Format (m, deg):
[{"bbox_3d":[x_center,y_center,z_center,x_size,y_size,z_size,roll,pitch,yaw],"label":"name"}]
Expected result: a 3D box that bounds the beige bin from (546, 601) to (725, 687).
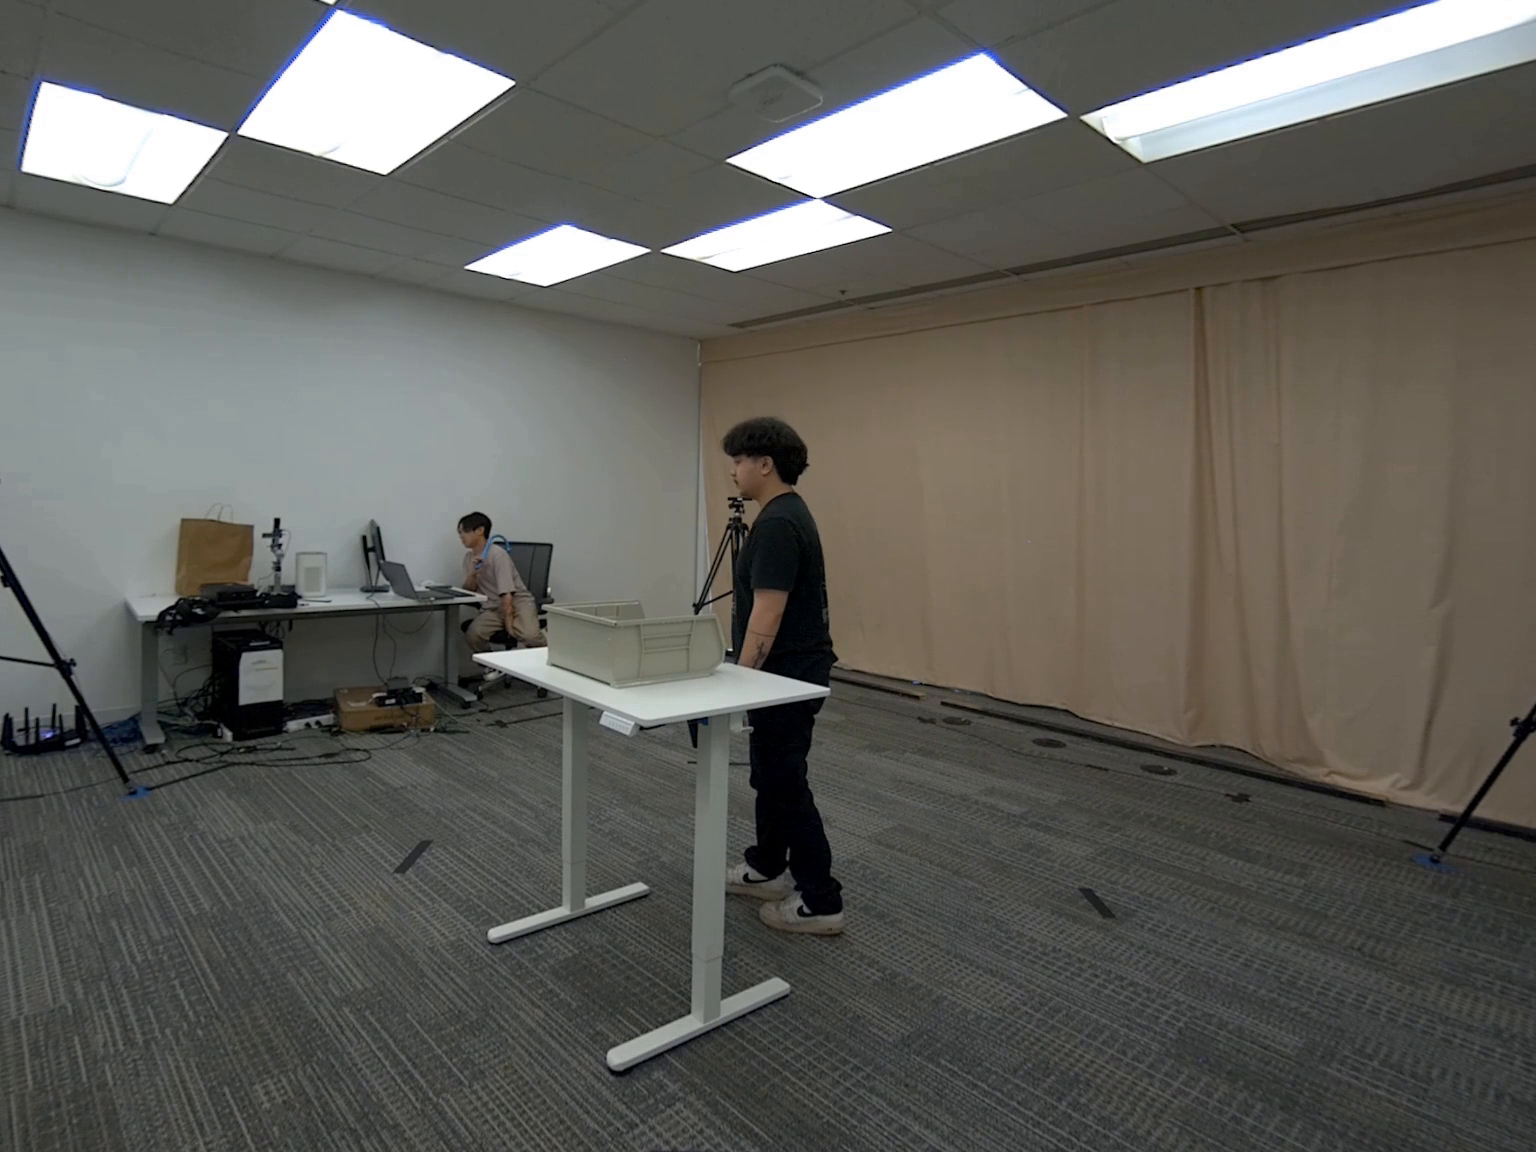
[{"bbox_3d":[-0.404,0.189,2.475,0.369,0.188,0.433,-3,7,-39],"label":"beige bin"}]
